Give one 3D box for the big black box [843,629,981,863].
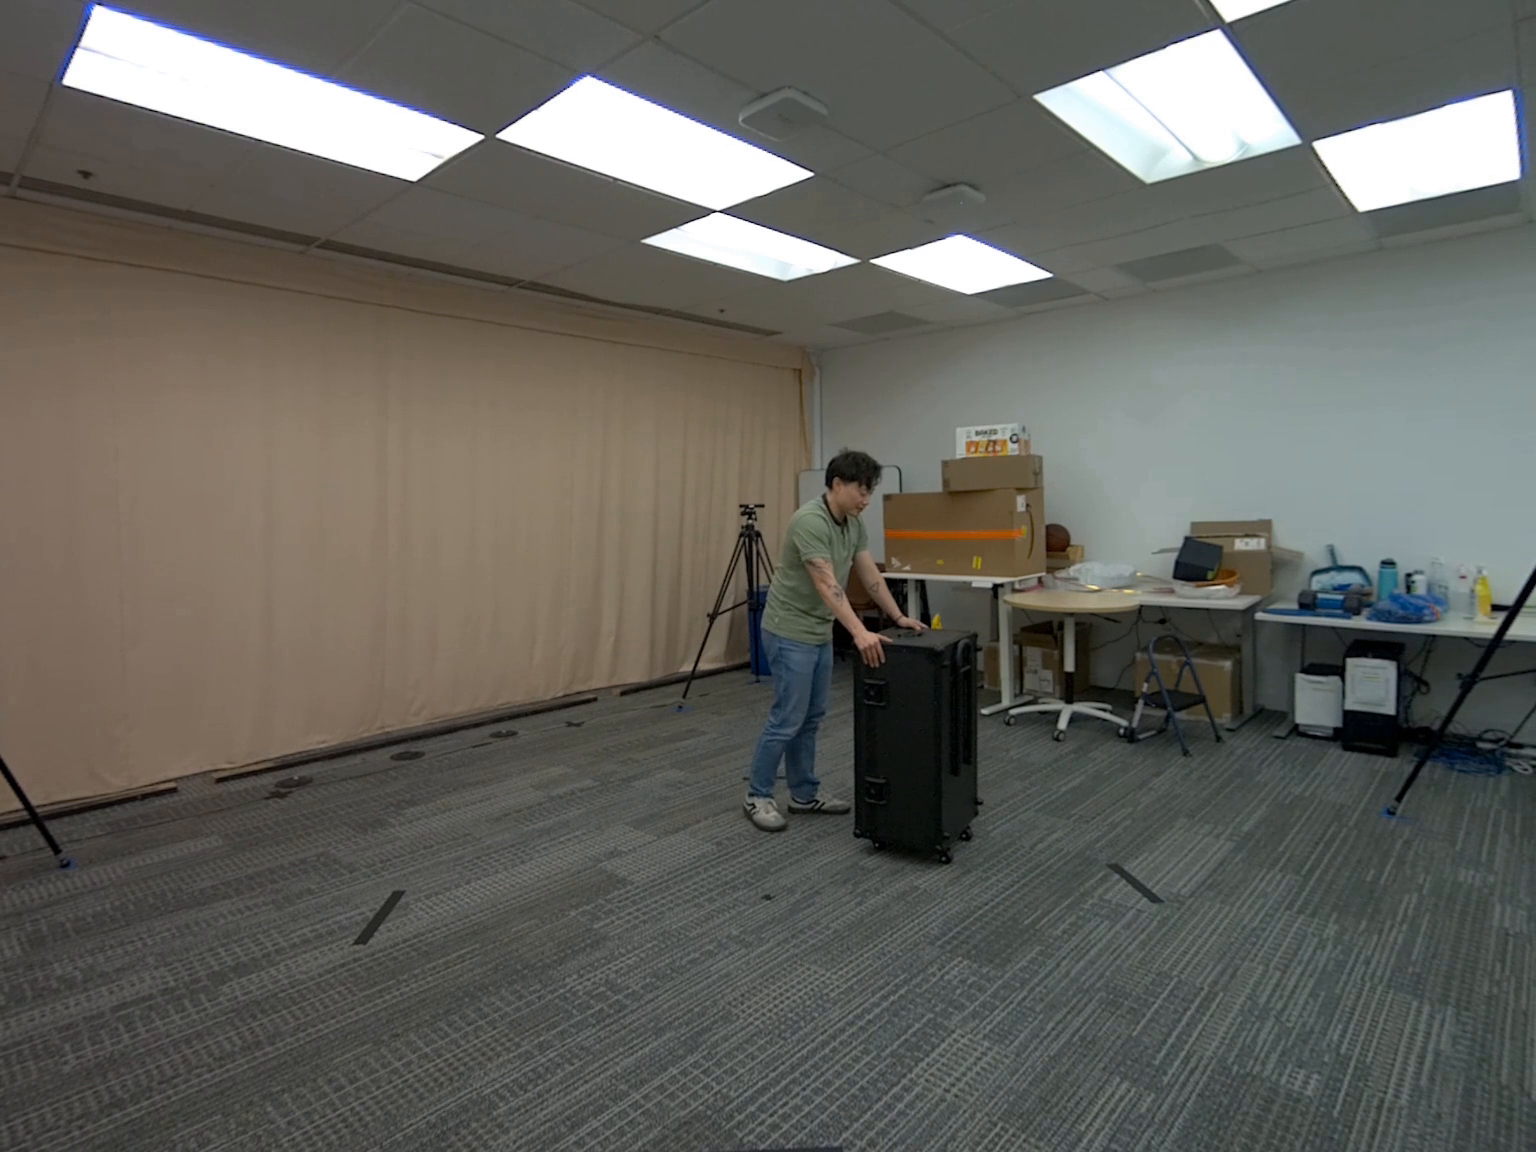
[{"bbox_3d":[0.630,0.666,3.419,0.408,0.859,0.507,3,4,31],"label":"big black box"}]
